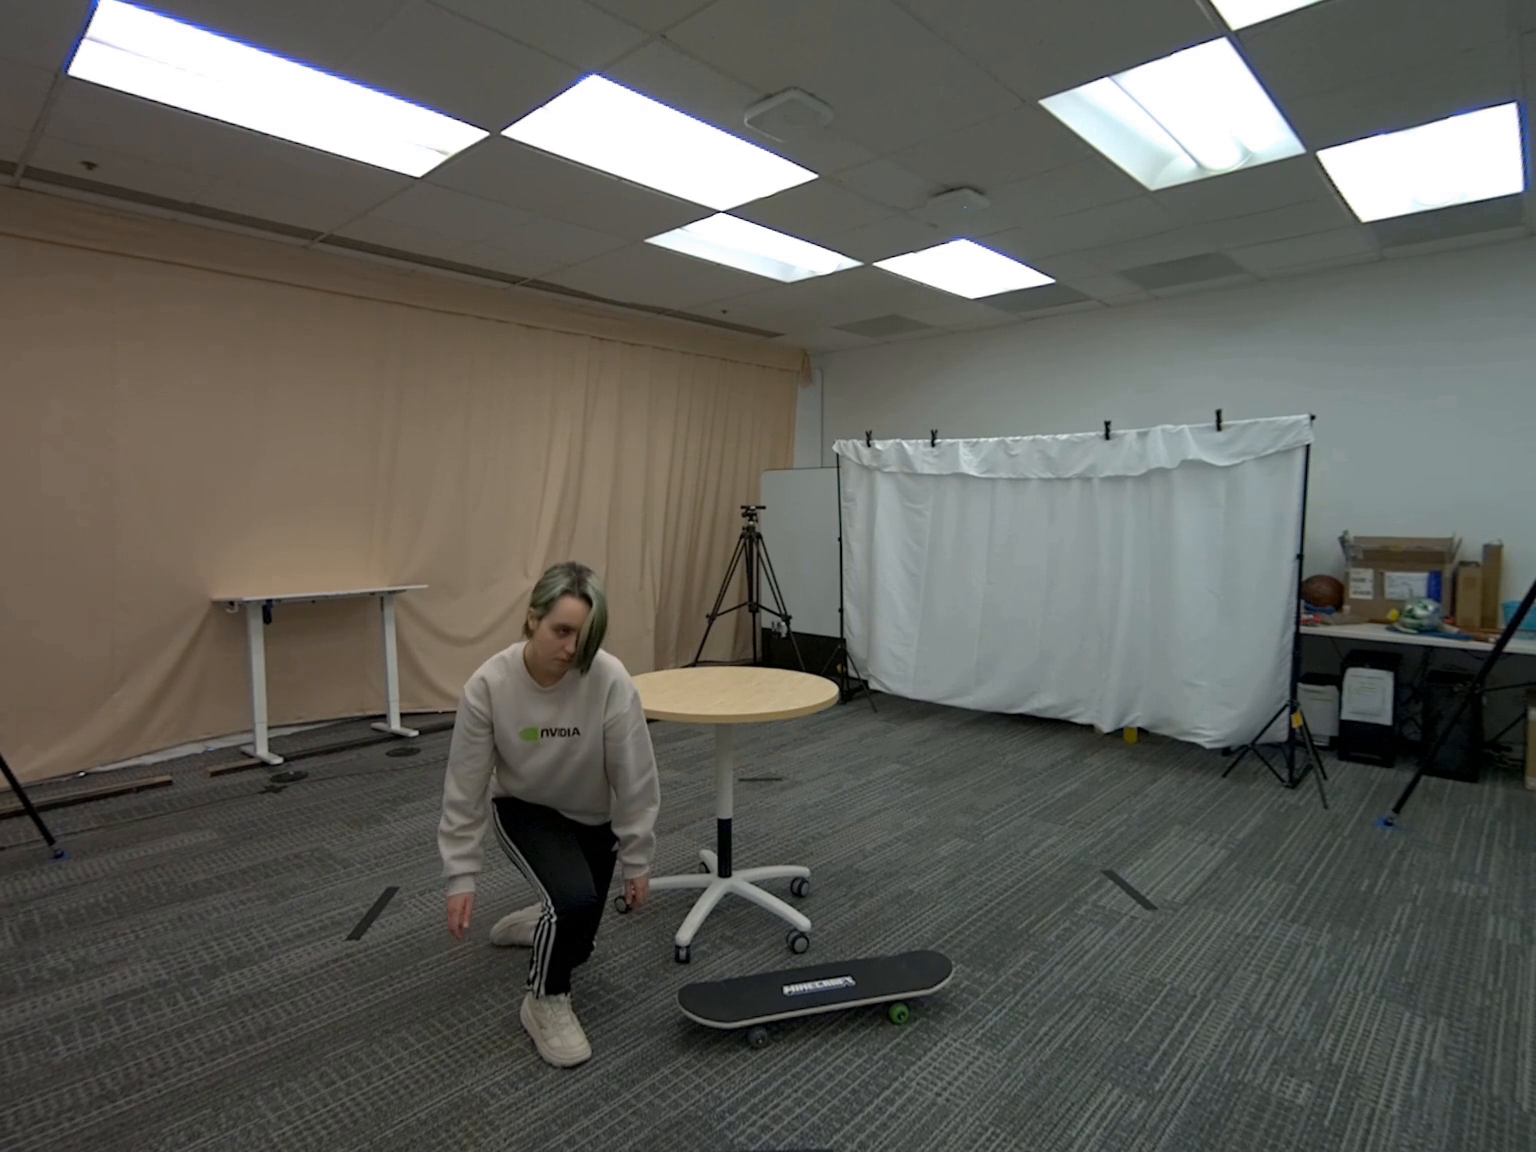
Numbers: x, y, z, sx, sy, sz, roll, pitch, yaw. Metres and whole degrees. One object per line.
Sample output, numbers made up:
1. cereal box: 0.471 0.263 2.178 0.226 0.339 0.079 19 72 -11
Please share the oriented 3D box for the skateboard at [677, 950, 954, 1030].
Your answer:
1. skateboard: 0.143 1.137 2.293 0.773 0.110 0.197 -2 6 -15
